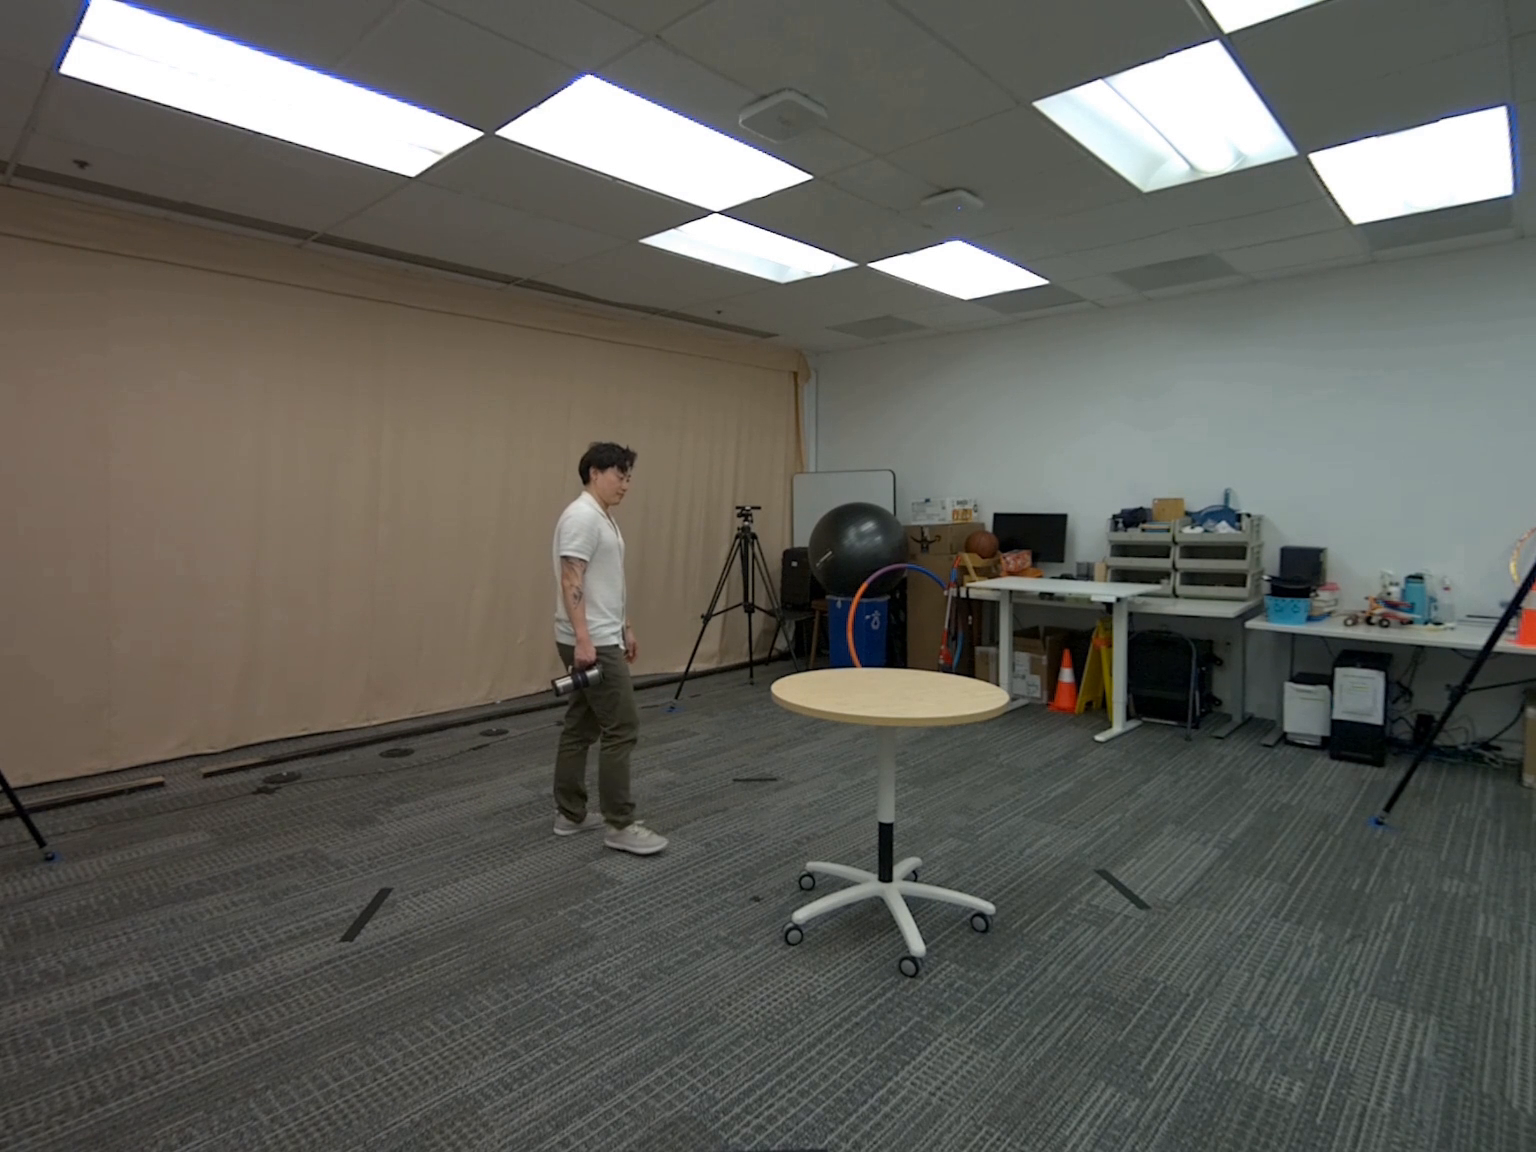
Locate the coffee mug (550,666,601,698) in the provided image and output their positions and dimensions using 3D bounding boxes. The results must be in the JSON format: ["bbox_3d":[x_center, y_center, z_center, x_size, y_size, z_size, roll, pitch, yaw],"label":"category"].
[{"bbox_3d":[-0.755,0.393,3.309,0.200,0.125,0.087,-17,-25,-17],"label":"coffee mug"}]
